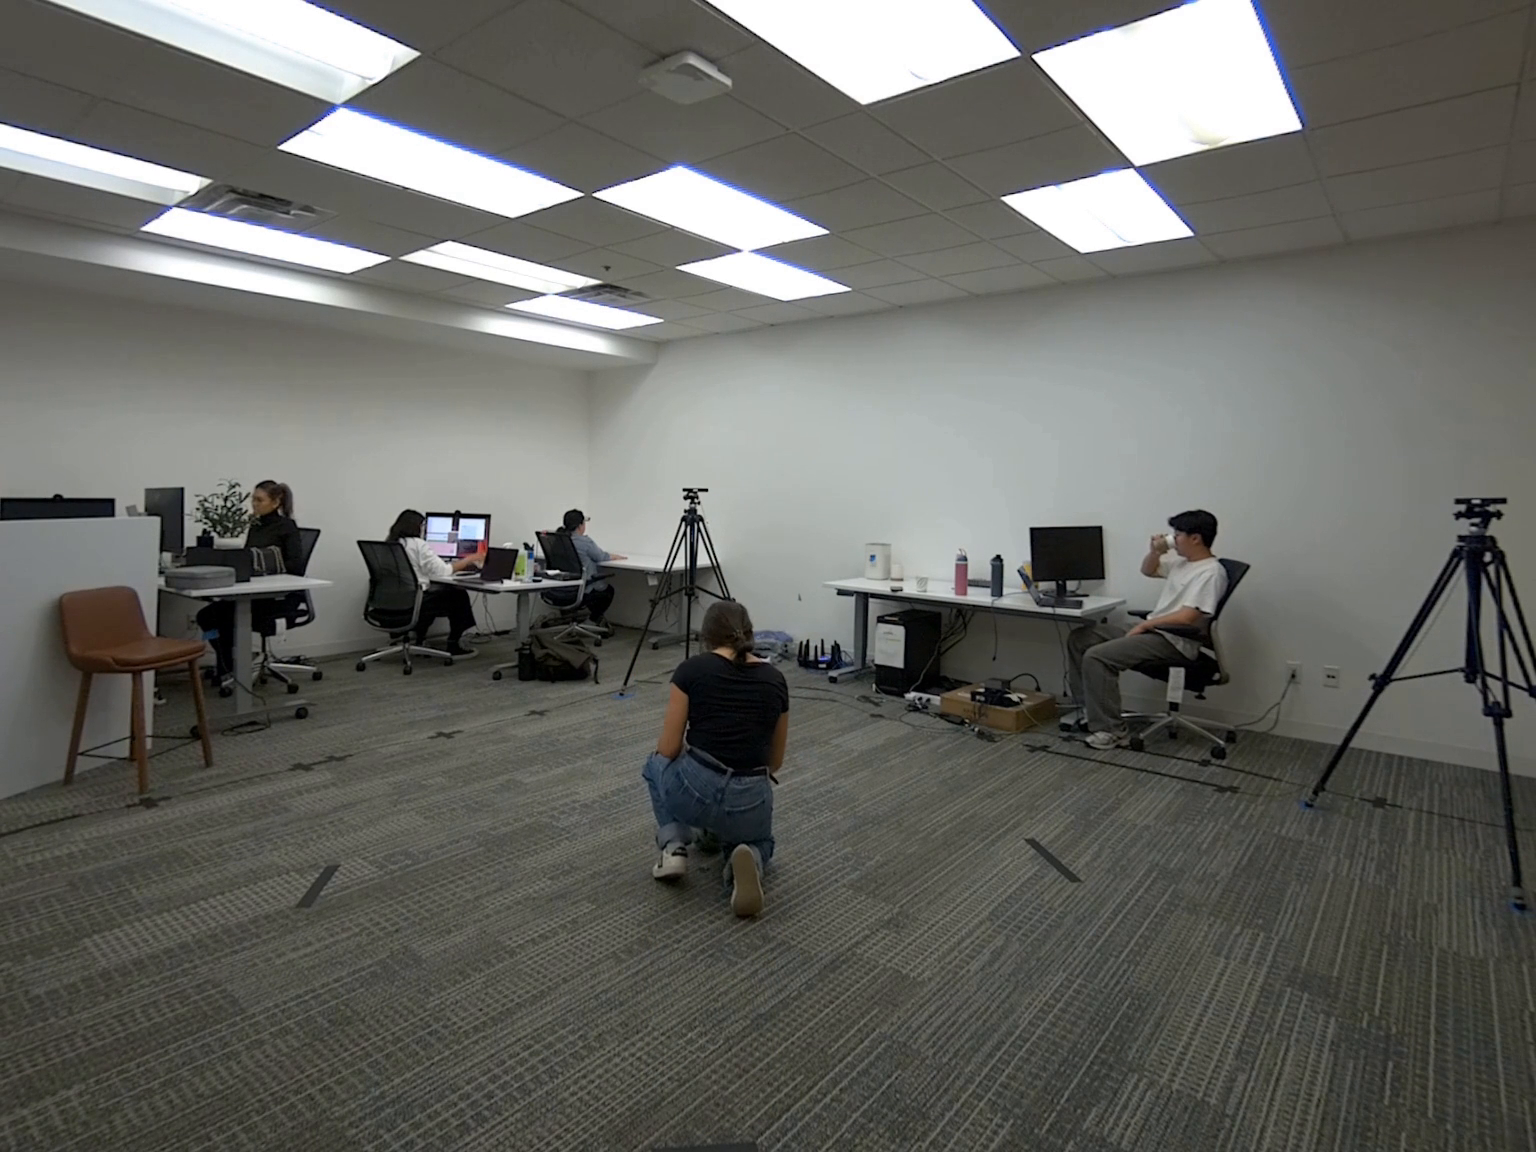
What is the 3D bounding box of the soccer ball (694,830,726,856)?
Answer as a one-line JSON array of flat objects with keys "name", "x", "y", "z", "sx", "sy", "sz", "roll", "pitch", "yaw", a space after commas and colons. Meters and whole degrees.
[{"name": "soccer ball", "x": -0.218, "y": 0.945, "z": 3.297, "sx": 0.187, "sy": 0.187, "sz": 0.188, "roll": 1, "pitch": 4, "yaw": -2}]
